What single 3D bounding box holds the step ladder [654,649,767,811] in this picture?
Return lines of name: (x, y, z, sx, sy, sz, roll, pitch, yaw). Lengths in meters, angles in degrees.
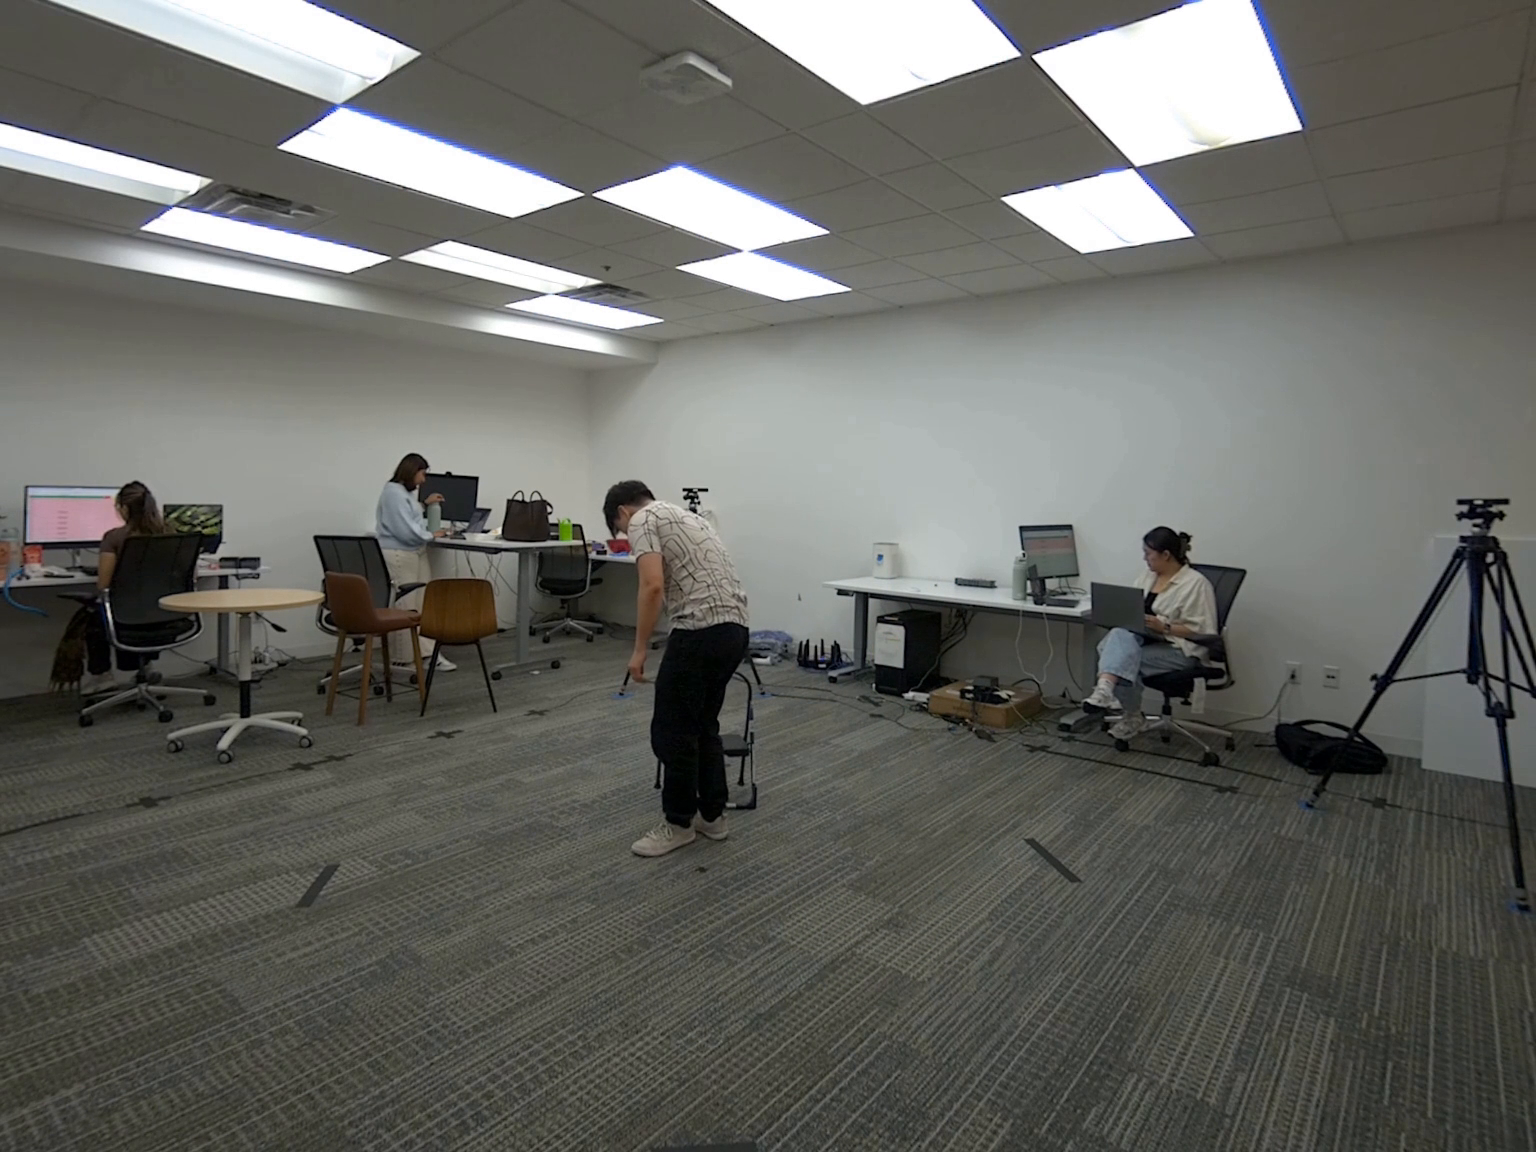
step ladder: (-0.288, 0.697, 3.833, 0.425, 0.605, 0.354, 0, 3, -12)
